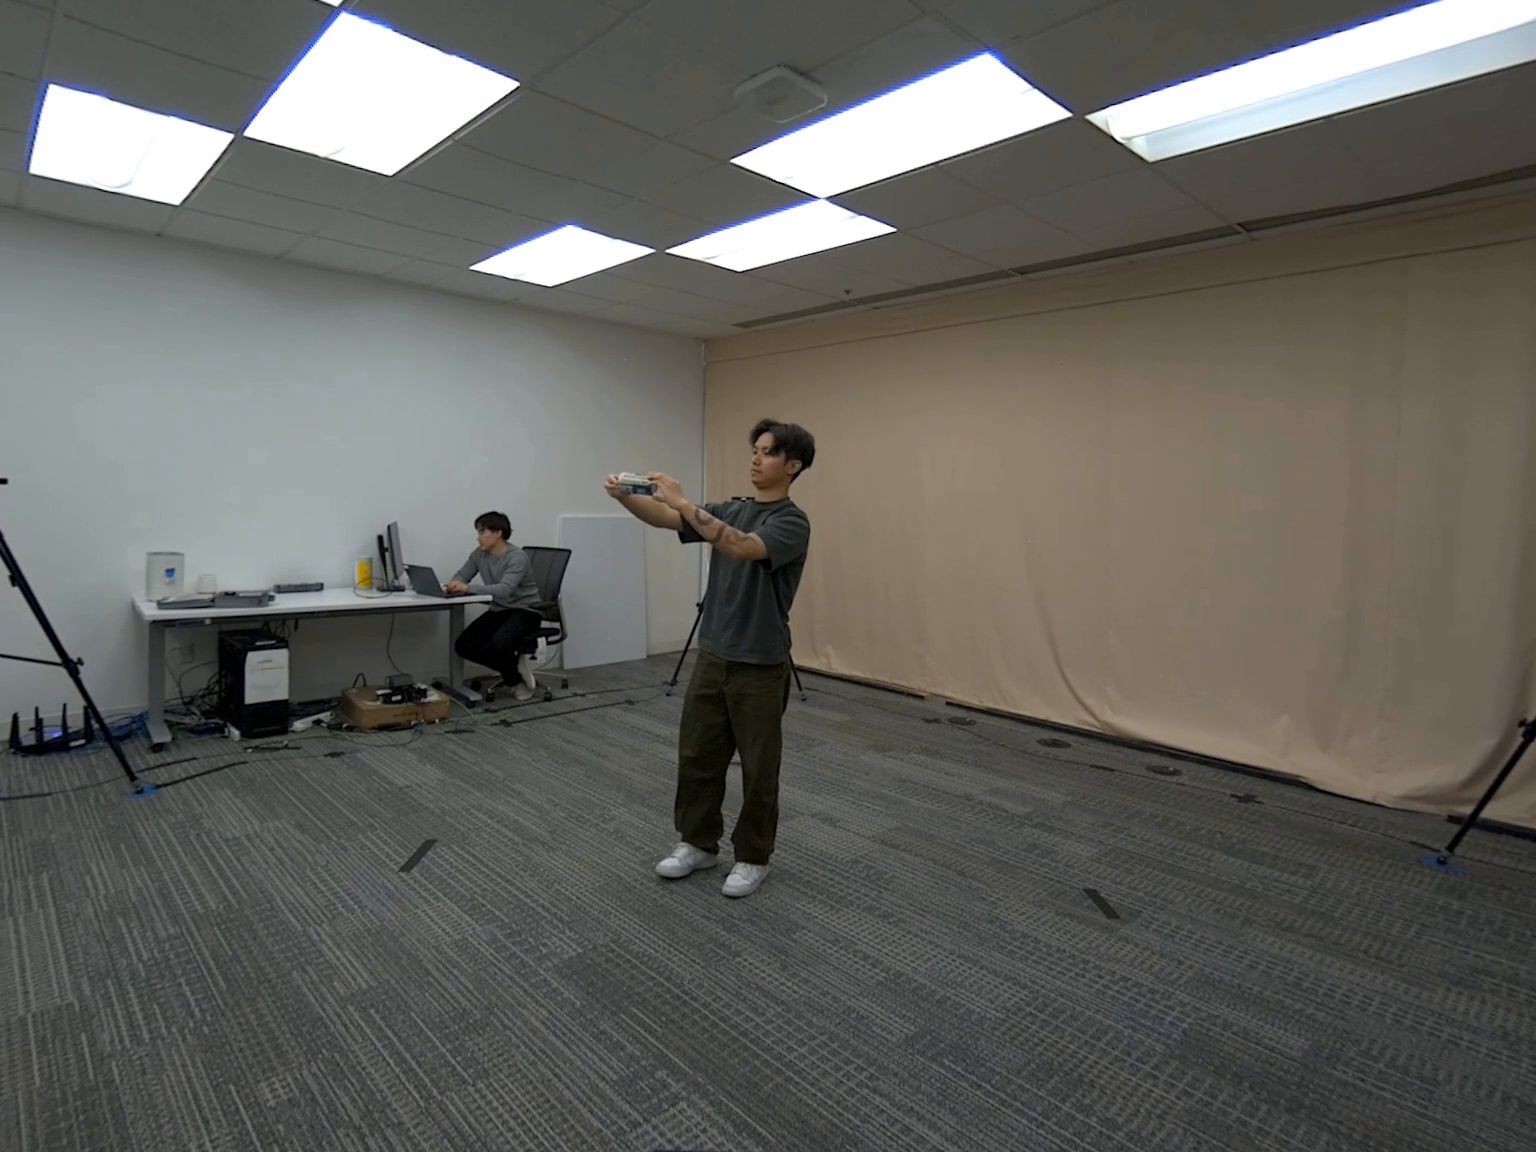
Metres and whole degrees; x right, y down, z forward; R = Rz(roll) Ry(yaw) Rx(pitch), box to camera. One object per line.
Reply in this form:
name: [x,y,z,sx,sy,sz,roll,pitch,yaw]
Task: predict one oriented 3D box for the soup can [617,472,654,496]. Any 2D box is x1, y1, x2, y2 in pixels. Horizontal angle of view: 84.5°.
soup can: [-0.436,-0.301,2.770,0.122,0.067,0.067,4,4,8]
